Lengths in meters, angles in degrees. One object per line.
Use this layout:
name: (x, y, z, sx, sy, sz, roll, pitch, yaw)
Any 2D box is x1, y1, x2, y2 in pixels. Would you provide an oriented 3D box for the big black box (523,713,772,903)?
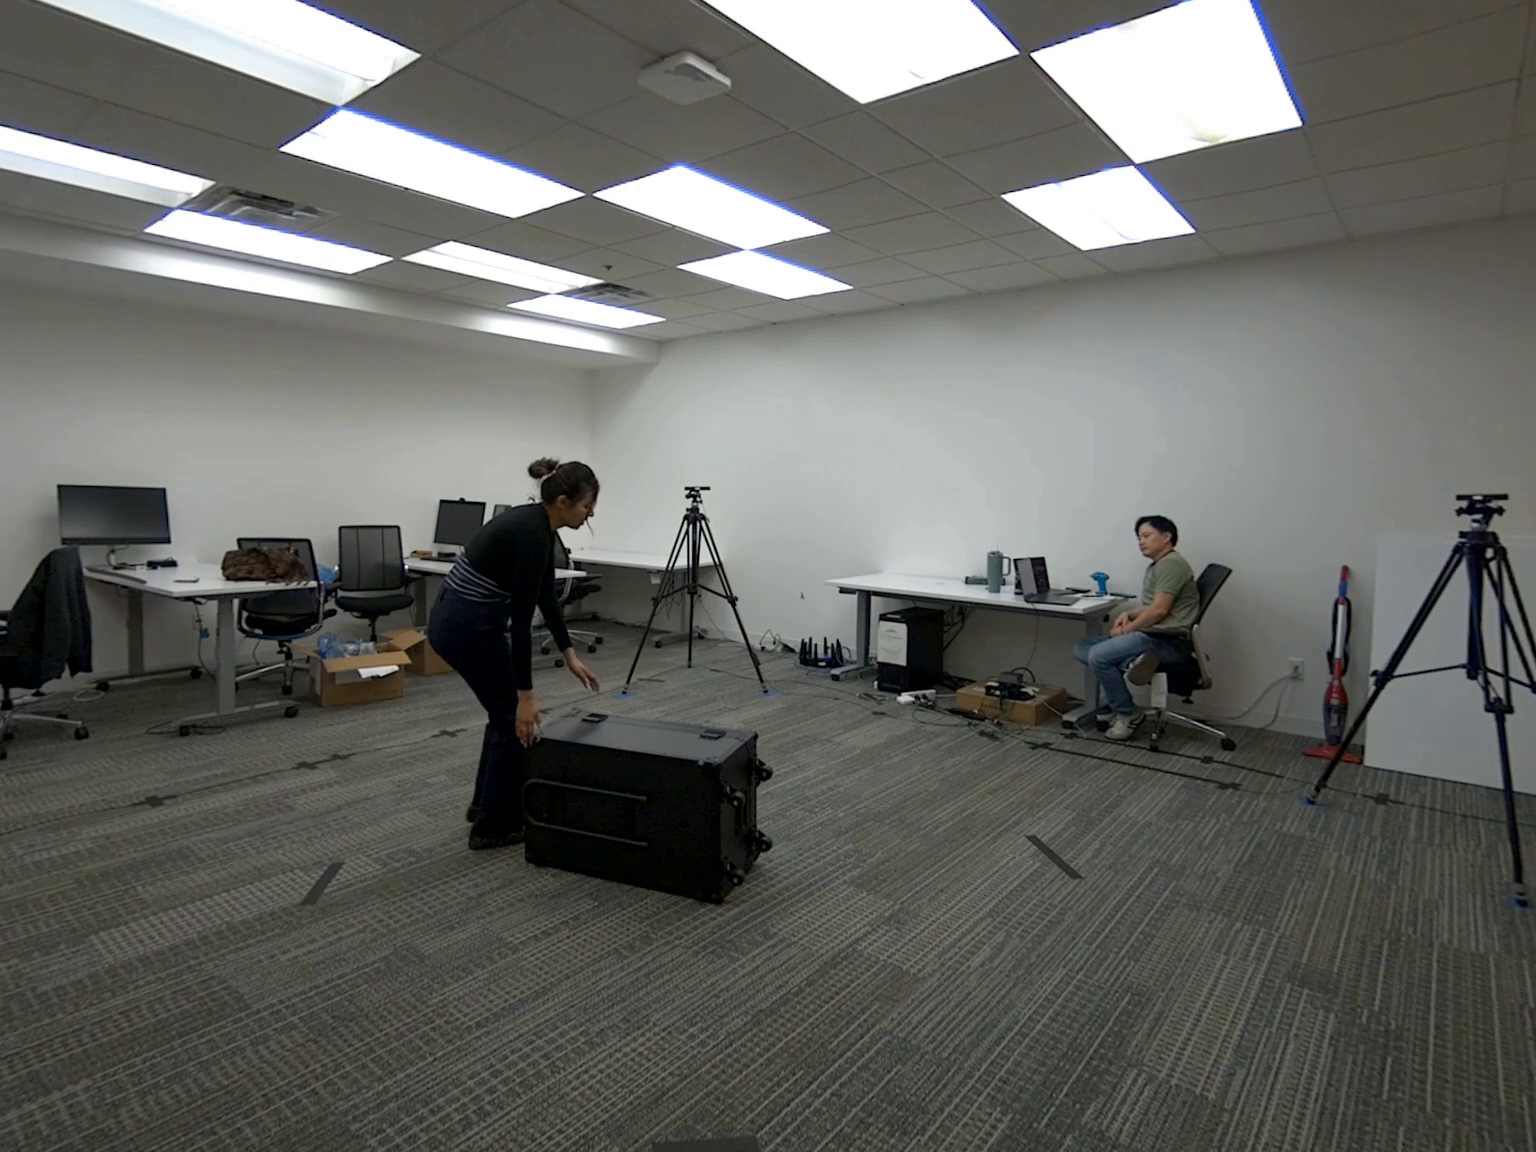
big black box: (-0.449, 0.809, 3.088, 0.881, 0.519, 0.389, 2, 6, 21)
